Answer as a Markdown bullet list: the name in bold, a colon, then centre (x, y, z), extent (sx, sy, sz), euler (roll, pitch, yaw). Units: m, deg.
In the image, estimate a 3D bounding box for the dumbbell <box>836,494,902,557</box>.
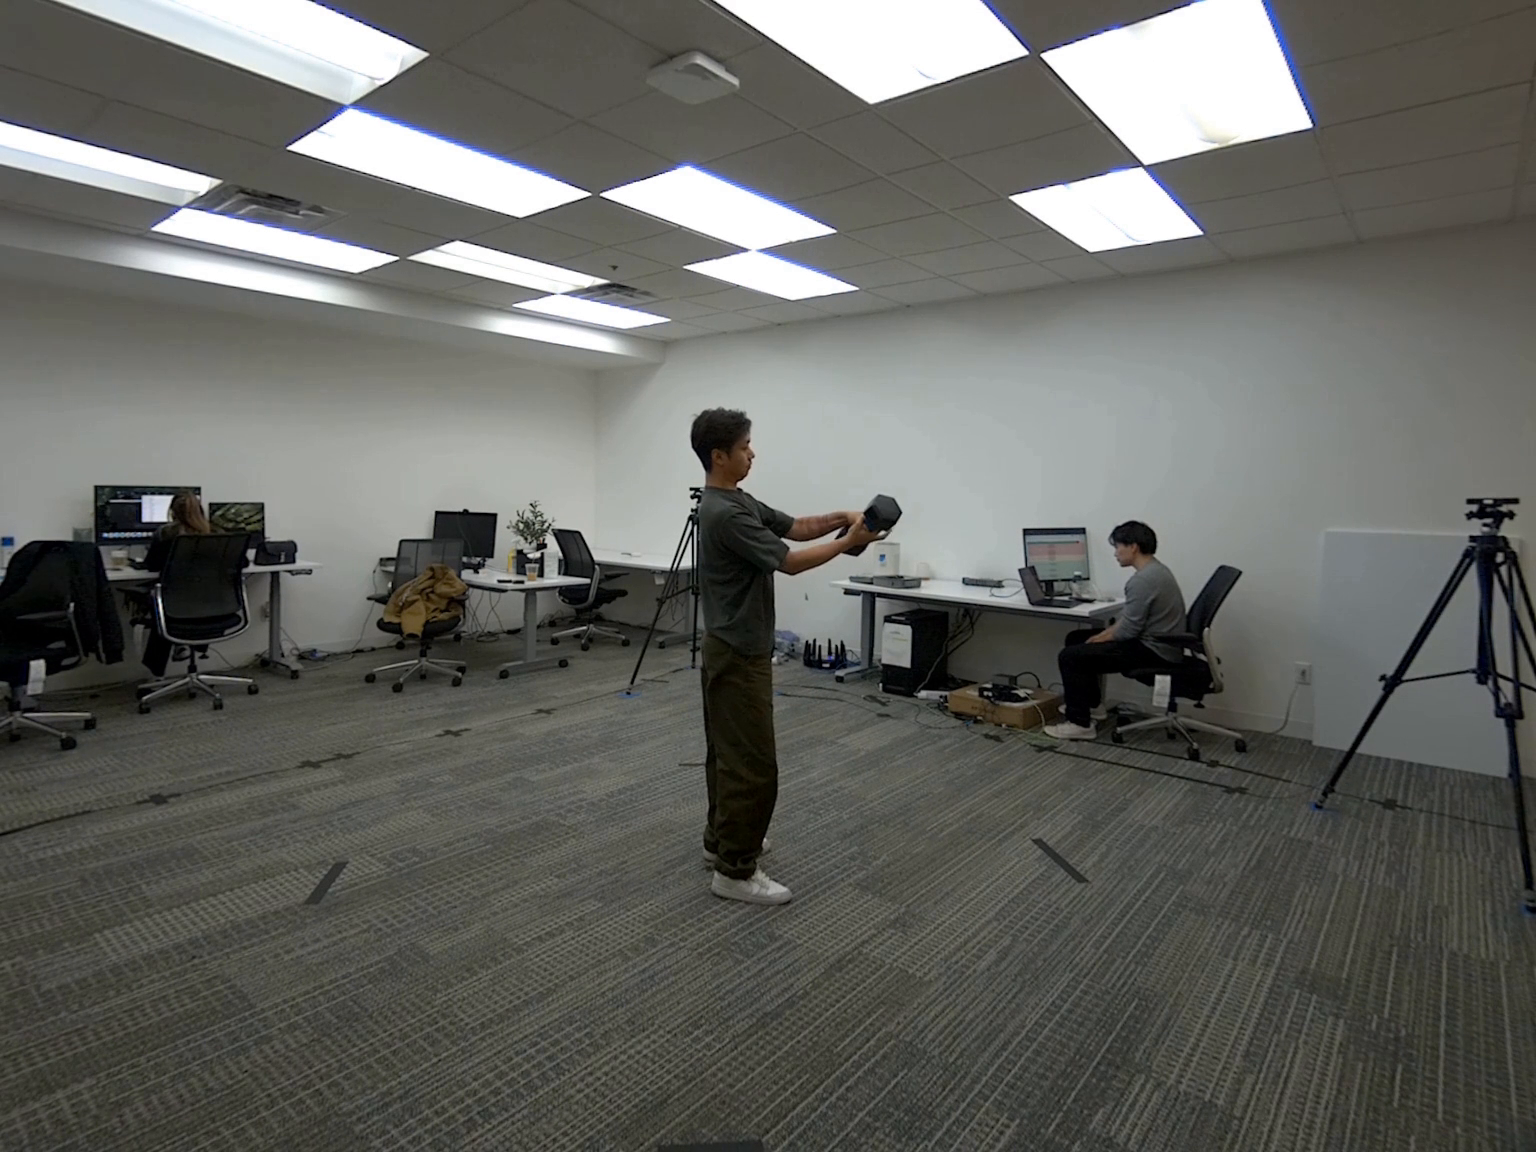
- **dumbbell**: centre (0.347, -0.180, 3.036), extent (0.108, 0.123, 0.293), euler (37, -34, -5)
